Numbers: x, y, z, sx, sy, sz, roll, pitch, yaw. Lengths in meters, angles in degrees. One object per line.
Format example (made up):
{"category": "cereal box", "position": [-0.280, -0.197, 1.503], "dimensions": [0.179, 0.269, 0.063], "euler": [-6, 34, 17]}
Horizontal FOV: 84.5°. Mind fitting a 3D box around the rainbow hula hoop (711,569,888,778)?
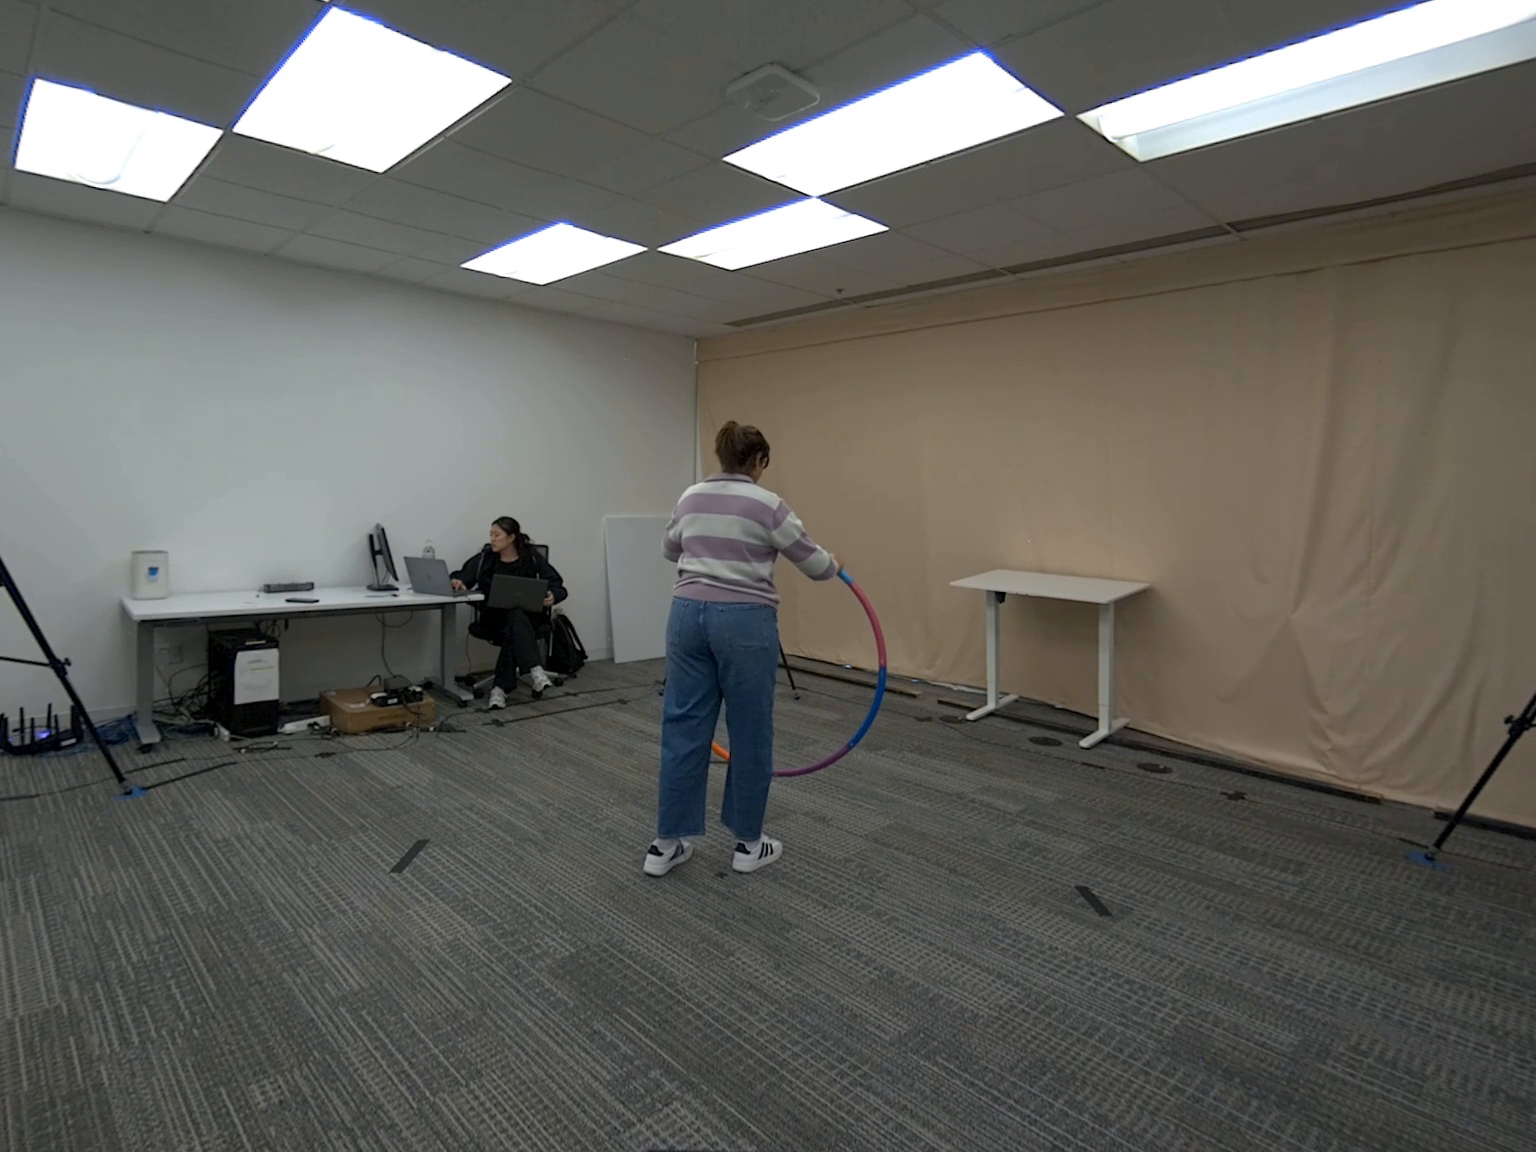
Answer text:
{"category": "rainbow hula hoop", "position": [0.013, 0.363, 3.593], "dimensions": [0.996, 0.979, 0.035], "euler": [3, 0, 23]}
